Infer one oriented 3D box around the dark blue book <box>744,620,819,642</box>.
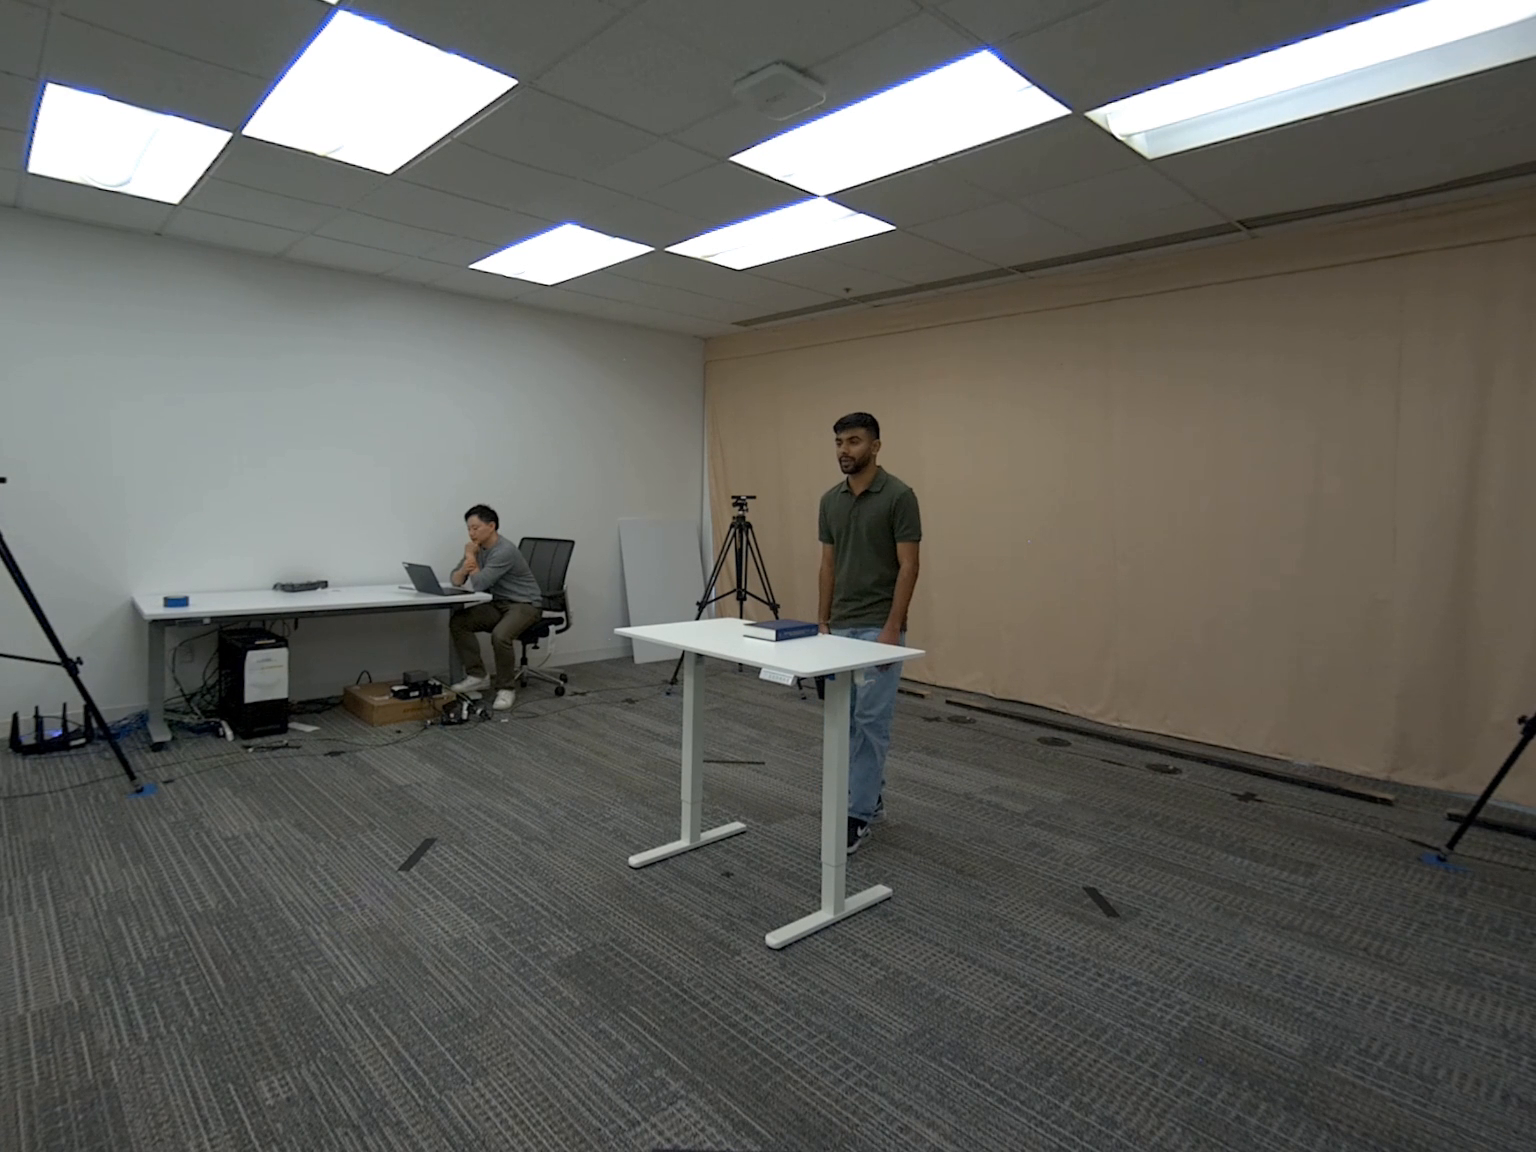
[{"bbox_3d":[0.044,0.202,3.130,0.167,0.045,0.239,6,7,42],"label":"dark blue book"}]
